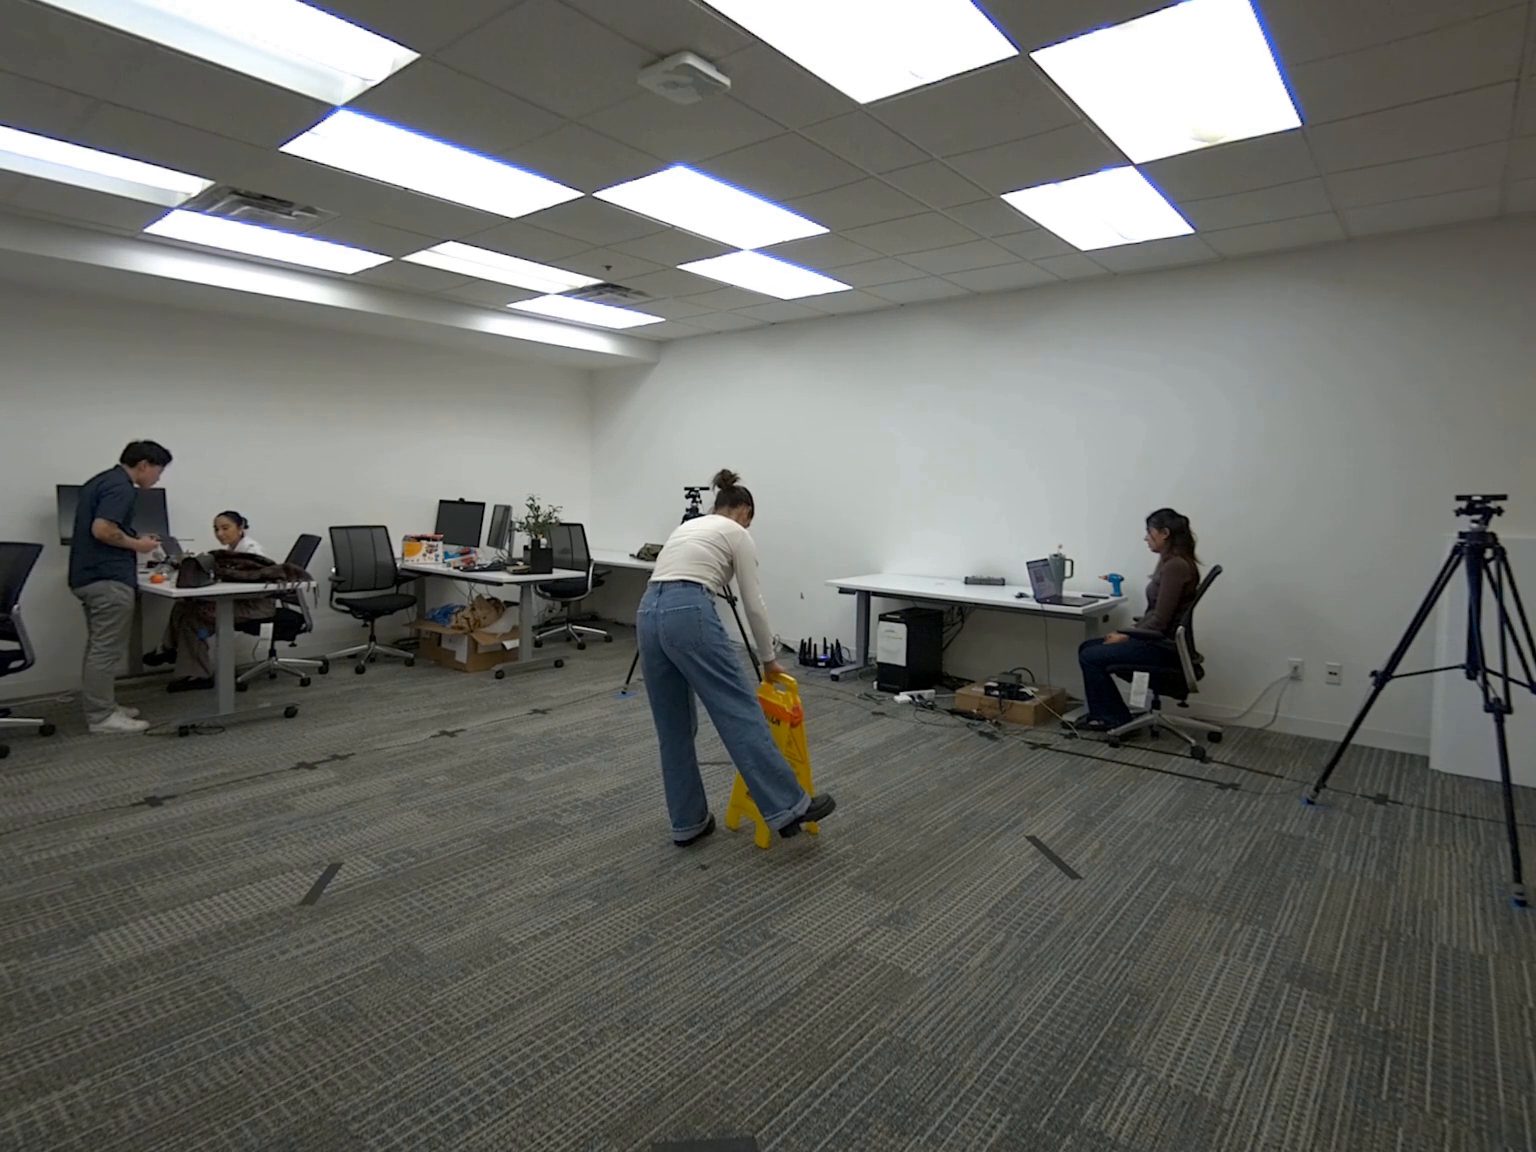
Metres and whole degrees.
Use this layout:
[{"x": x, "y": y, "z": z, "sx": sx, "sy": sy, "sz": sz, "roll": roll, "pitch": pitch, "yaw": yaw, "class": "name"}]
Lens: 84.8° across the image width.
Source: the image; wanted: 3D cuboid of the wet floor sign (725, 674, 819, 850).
[{"x": 0.021, "y": 0.710, "z": 3.440, "sx": 0.281, "sy": 0.643, "sz": 0.292, "roll": -1, "pitch": 6, "yaw": -36, "class": "wet floor sign"}]
